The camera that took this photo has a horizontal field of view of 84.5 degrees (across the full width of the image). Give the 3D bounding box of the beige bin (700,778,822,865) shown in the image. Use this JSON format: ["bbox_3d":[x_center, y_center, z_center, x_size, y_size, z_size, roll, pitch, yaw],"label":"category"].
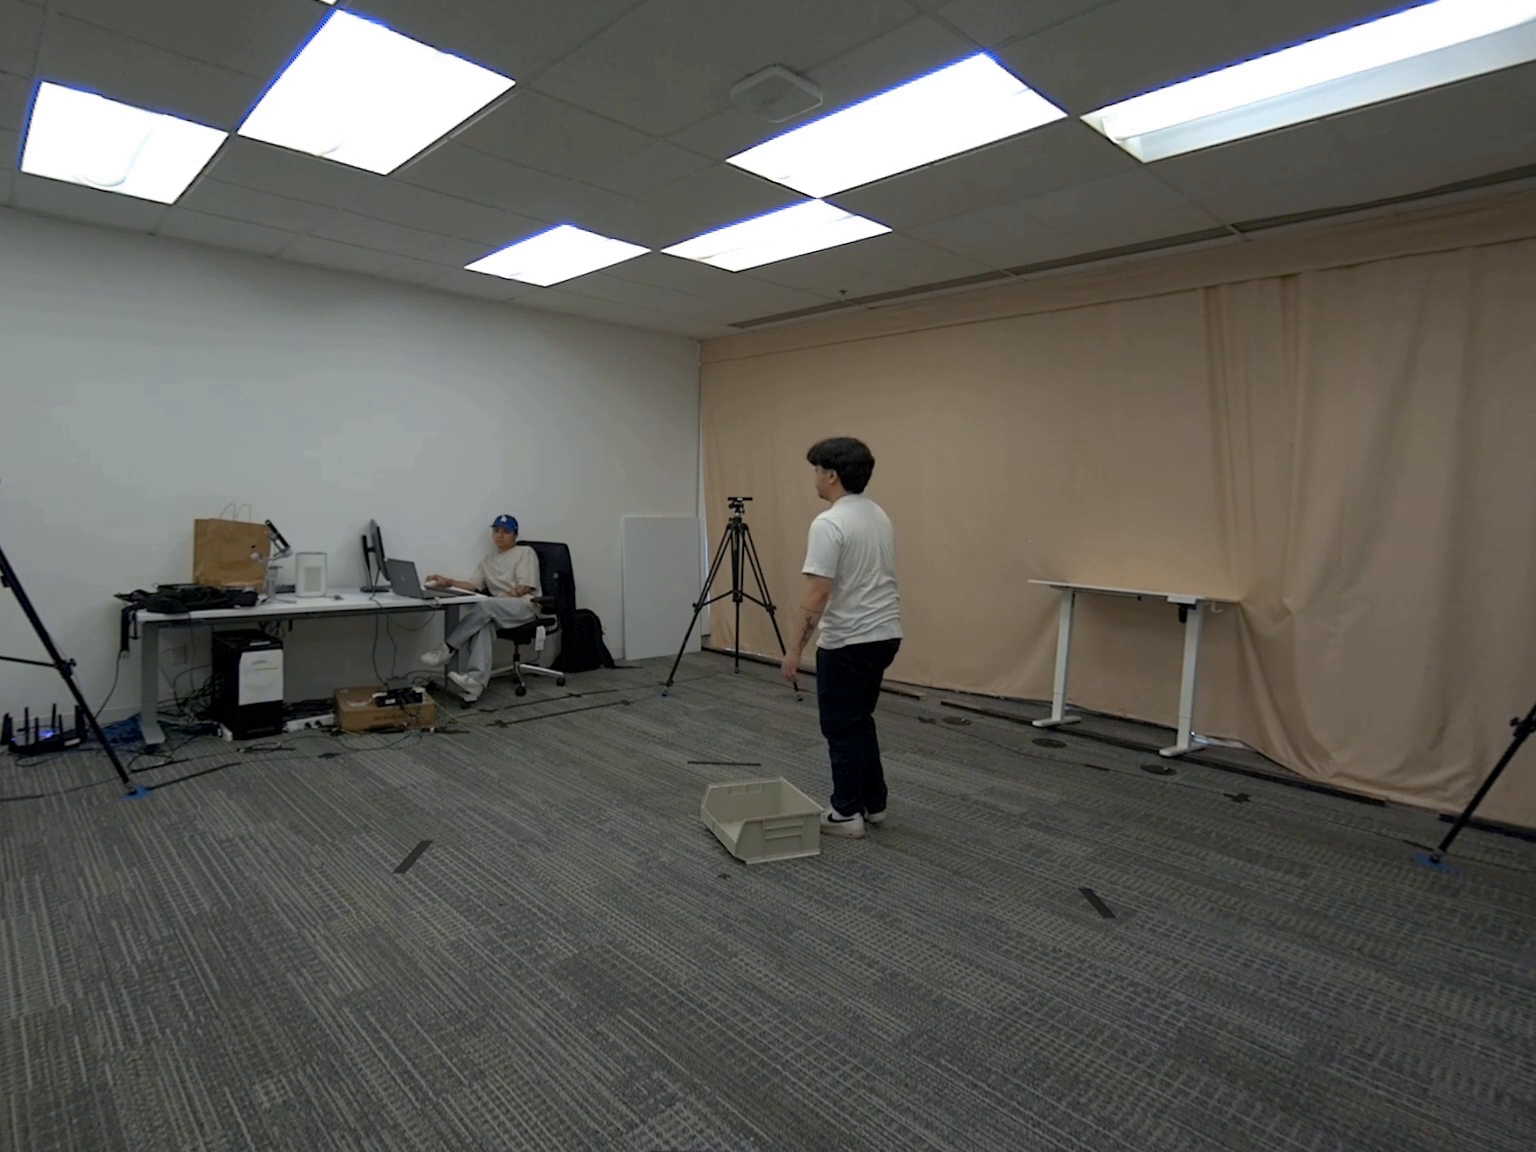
[{"bbox_3d":[-0.040,0.992,3.440,0.371,0.188,0.430,0,4,-22],"label":"beige bin"}]
